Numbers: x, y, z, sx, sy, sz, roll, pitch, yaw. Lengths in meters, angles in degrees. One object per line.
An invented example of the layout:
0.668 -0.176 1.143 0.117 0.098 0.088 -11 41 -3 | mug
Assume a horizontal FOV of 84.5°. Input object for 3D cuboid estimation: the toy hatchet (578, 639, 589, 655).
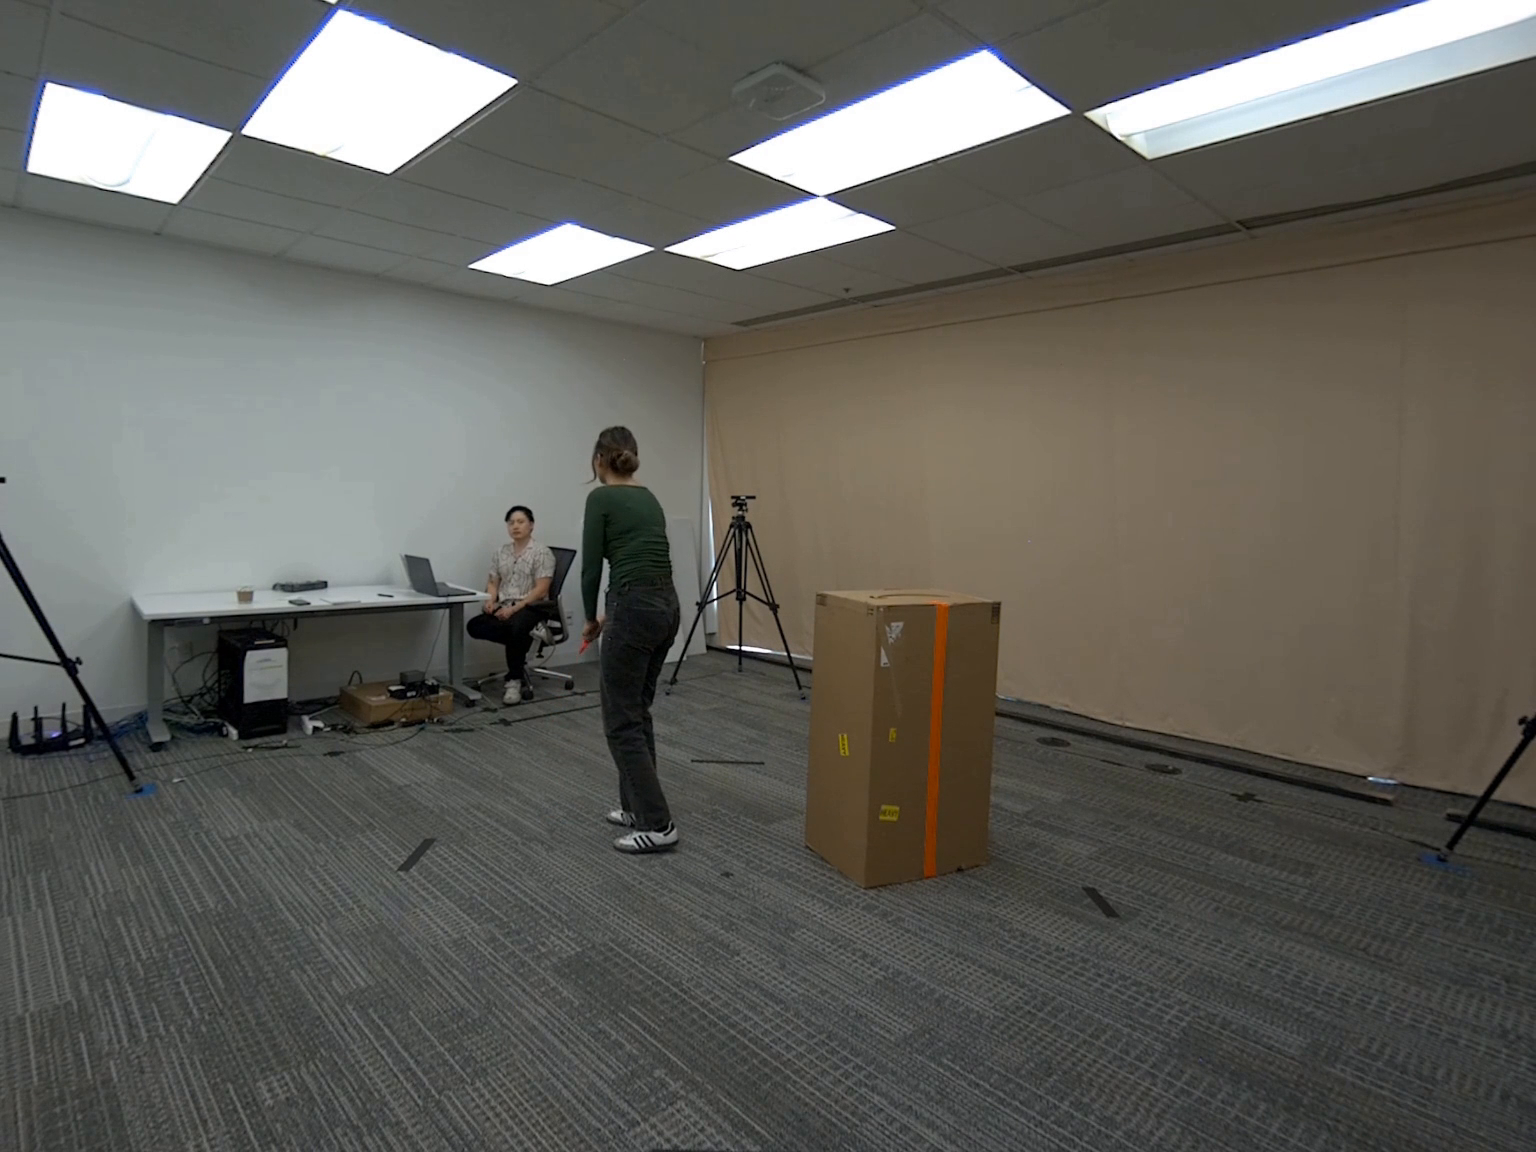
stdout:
-0.784 0.277 3.641 0.029 0.131 0.271 31 -11 -7 | toy hatchet
